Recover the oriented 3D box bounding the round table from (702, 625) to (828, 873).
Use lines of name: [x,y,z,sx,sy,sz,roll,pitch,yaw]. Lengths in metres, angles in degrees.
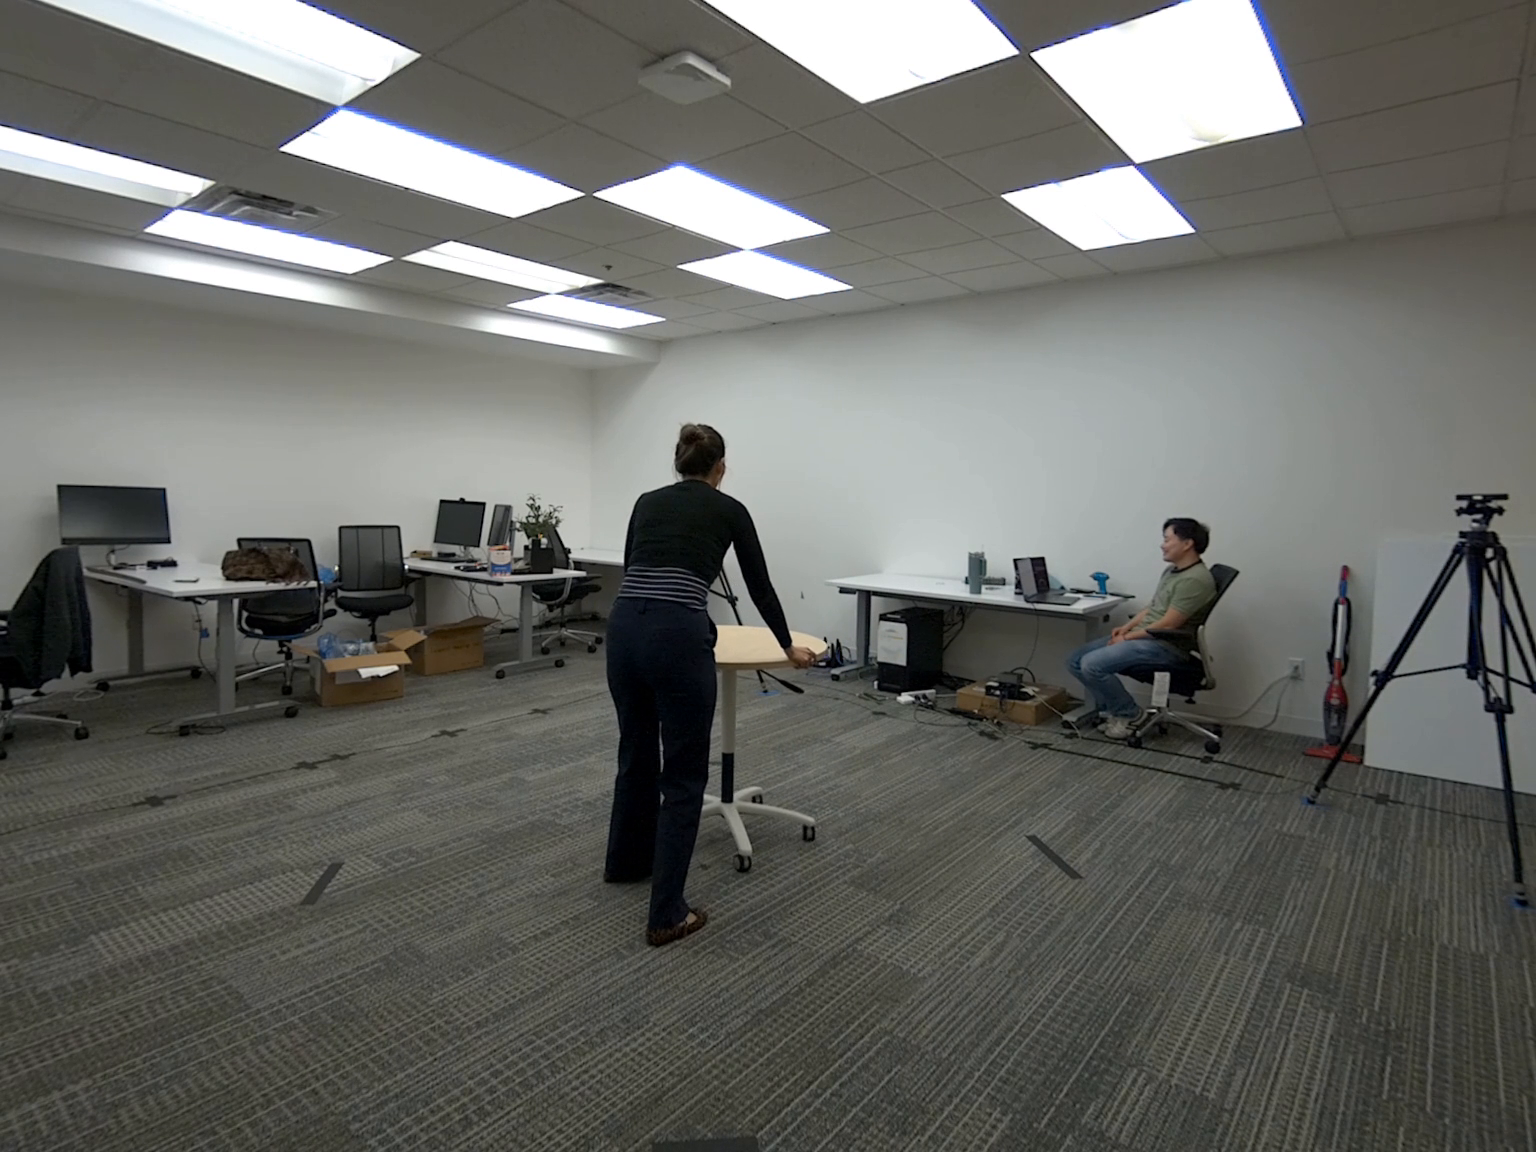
round table: [-0.163,0.650,3.381,0.763,0.791,0.768,1,4,-2]
